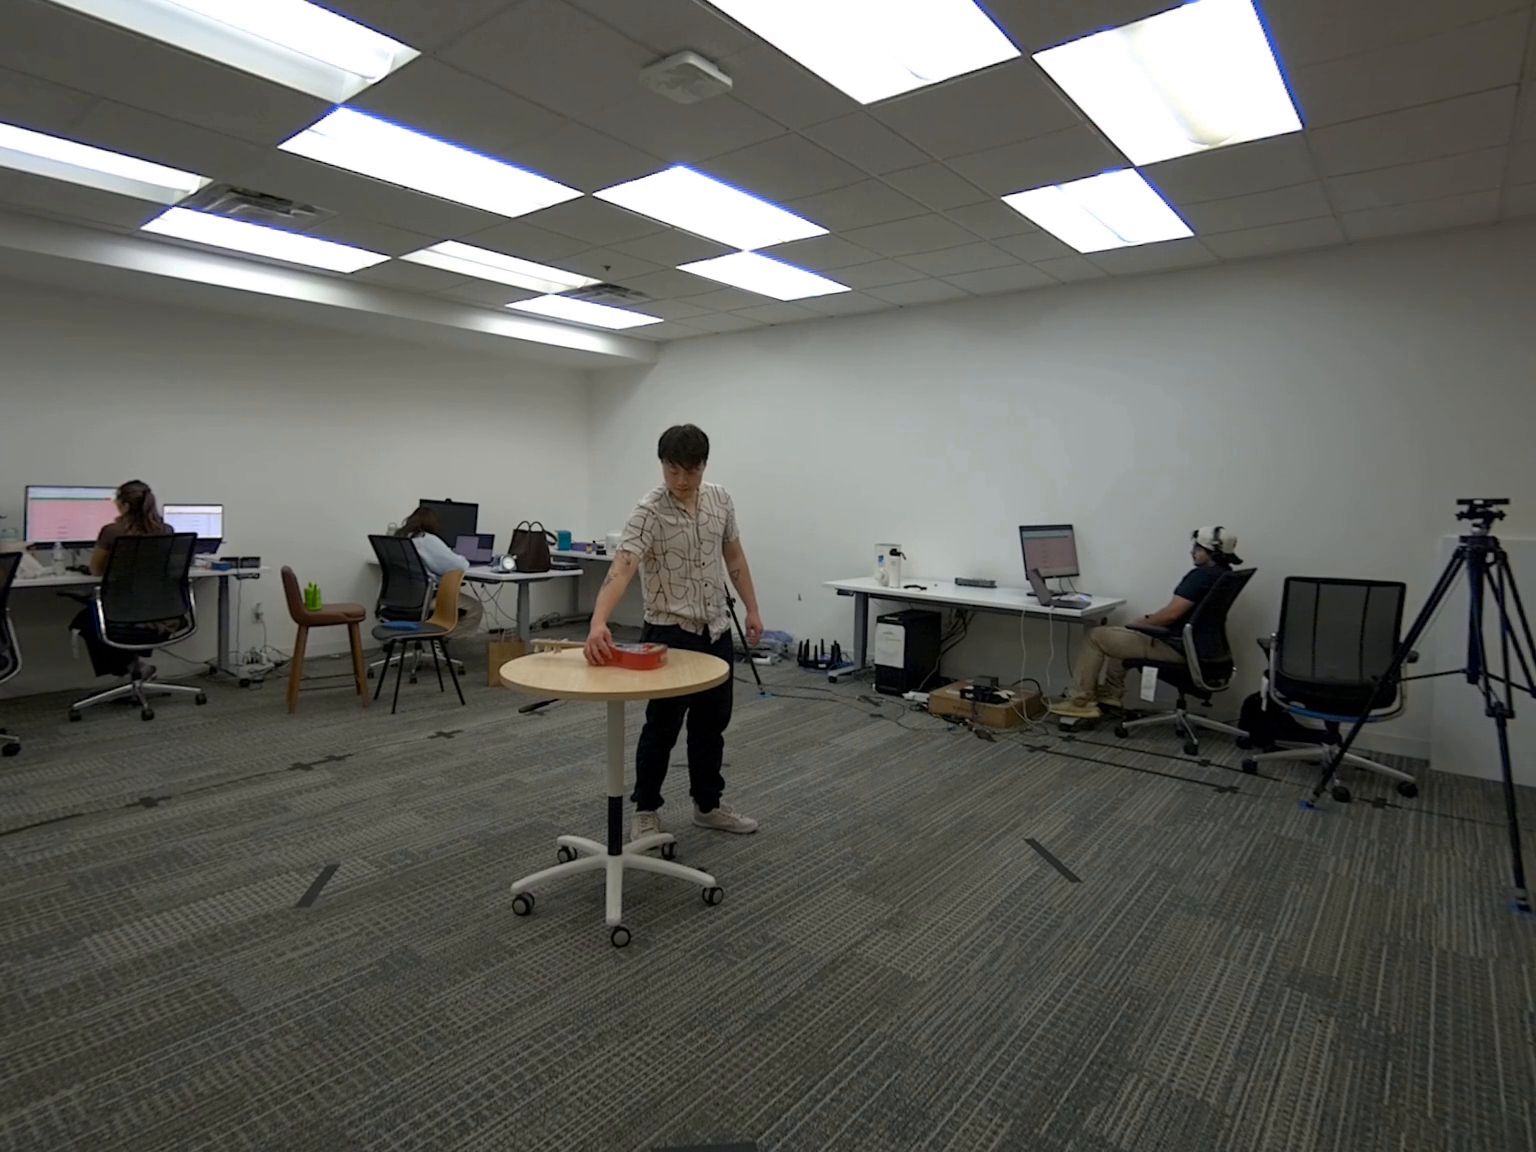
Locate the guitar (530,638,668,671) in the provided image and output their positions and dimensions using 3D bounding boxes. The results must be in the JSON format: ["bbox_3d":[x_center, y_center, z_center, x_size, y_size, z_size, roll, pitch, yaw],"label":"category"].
[{"bbox_3d":[-0.598,0.262,2.978,0.510,0.070,0.189,2,5,23],"label":"guitar"}]
